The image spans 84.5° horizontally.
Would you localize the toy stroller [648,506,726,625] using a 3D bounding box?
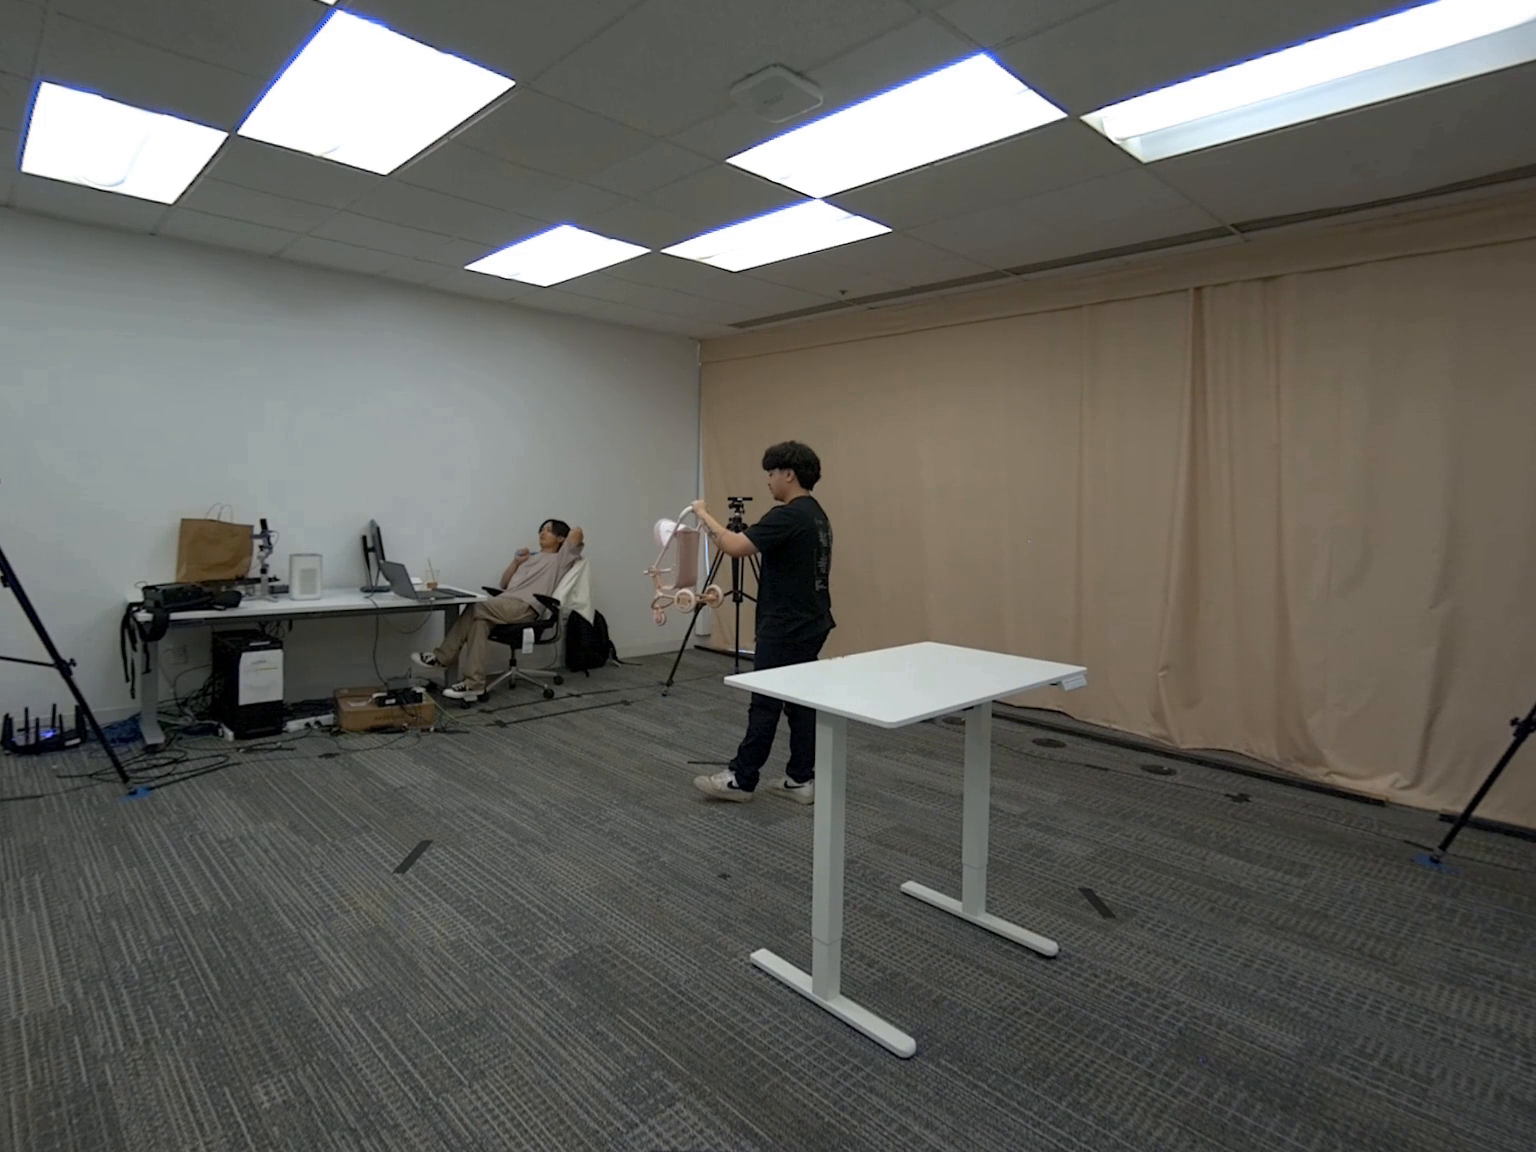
[{"bbox_3d":[-0.433,-0.040,3.969,0.348,0.536,0.276,-8,-2,33],"label":"toy stroller"}]
